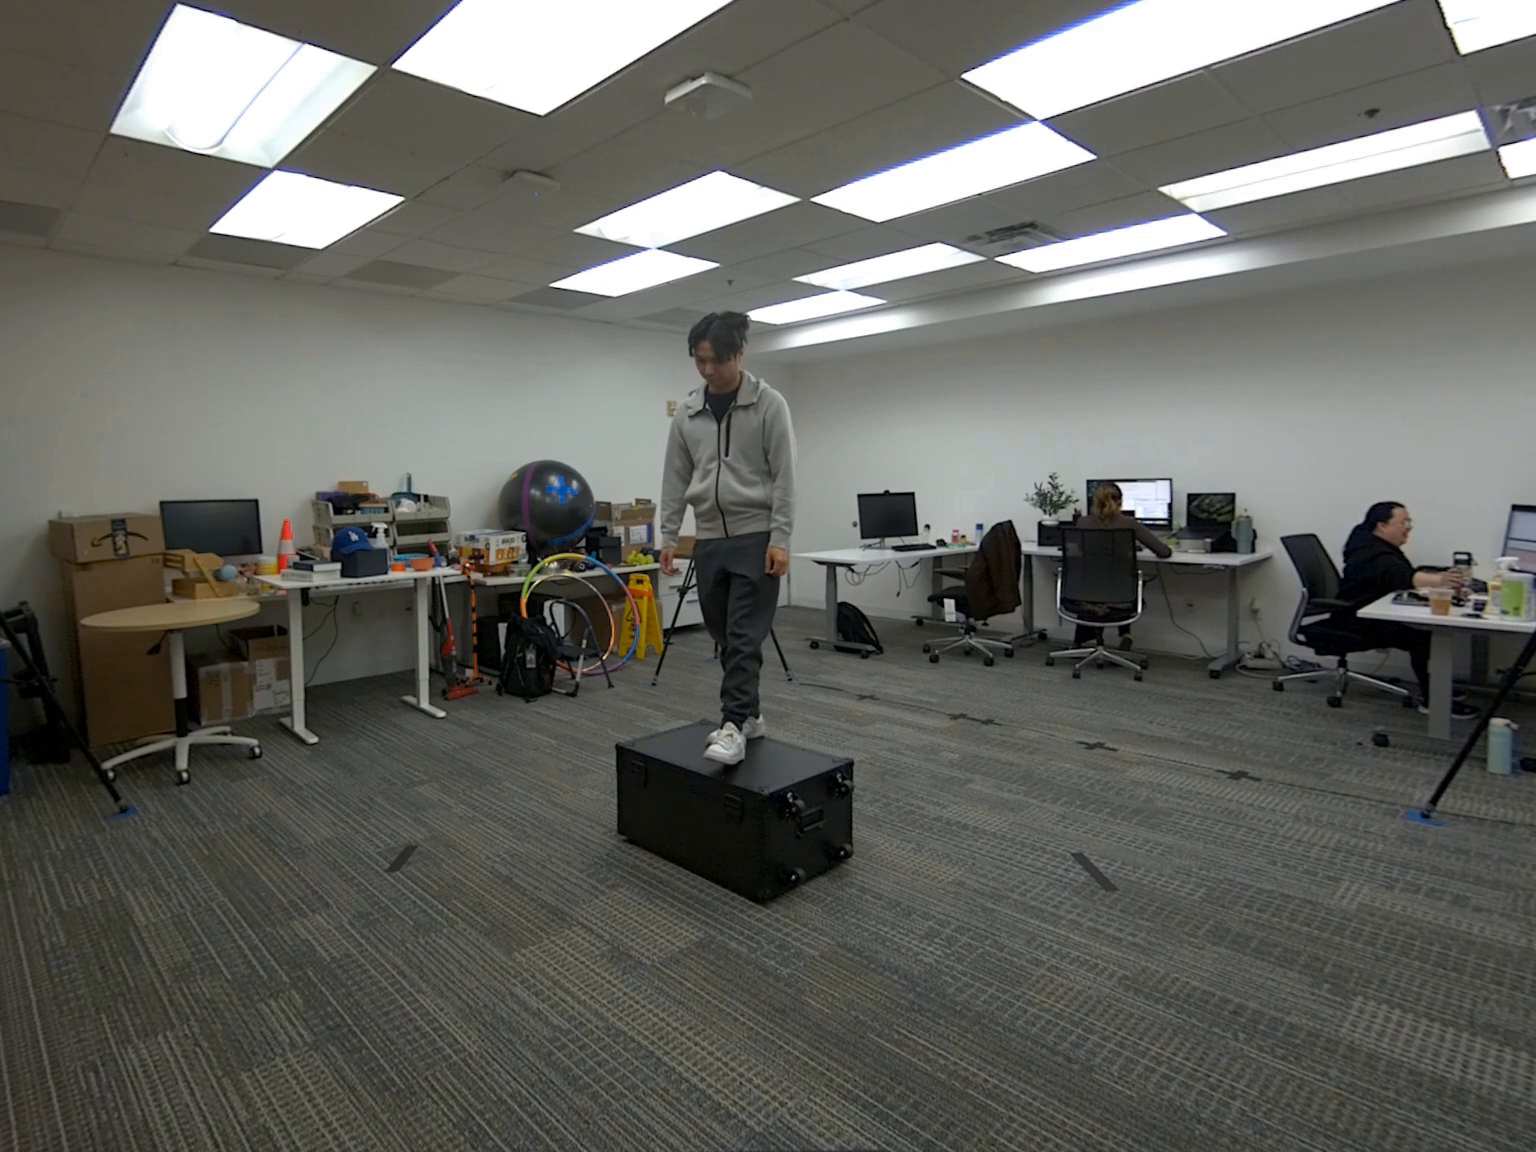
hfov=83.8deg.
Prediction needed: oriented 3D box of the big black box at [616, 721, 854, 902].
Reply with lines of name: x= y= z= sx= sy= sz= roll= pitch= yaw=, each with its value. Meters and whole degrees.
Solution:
big black box: x=-0.116 y=0.847 z=3.187 sx=0.888 sy=0.395 sz=0.507 roll=4 pitch=7 yaw=43
